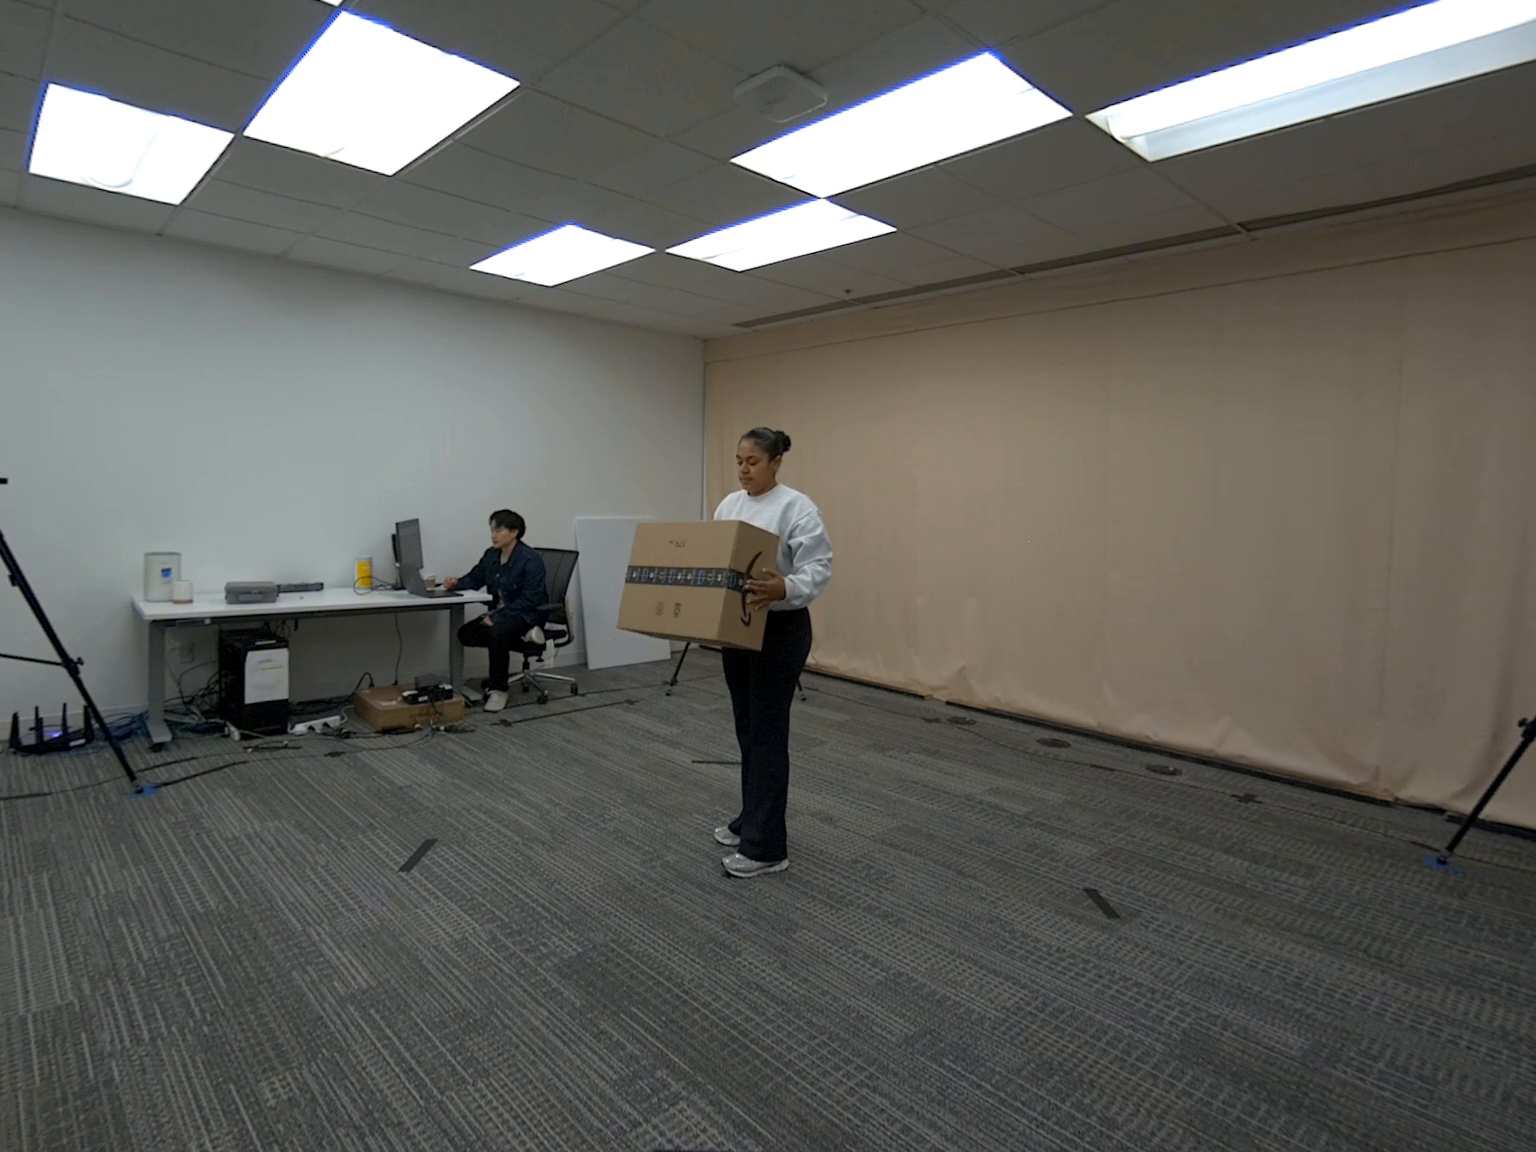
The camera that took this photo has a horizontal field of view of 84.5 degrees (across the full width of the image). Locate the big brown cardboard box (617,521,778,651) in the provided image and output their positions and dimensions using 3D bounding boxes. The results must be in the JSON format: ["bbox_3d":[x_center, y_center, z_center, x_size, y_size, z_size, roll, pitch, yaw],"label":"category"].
[{"bbox_3d":[-0.275,0.032,3.081,0.226,0.420,0.603,19,-12,-42],"label":"big brown cardboard box"}]
